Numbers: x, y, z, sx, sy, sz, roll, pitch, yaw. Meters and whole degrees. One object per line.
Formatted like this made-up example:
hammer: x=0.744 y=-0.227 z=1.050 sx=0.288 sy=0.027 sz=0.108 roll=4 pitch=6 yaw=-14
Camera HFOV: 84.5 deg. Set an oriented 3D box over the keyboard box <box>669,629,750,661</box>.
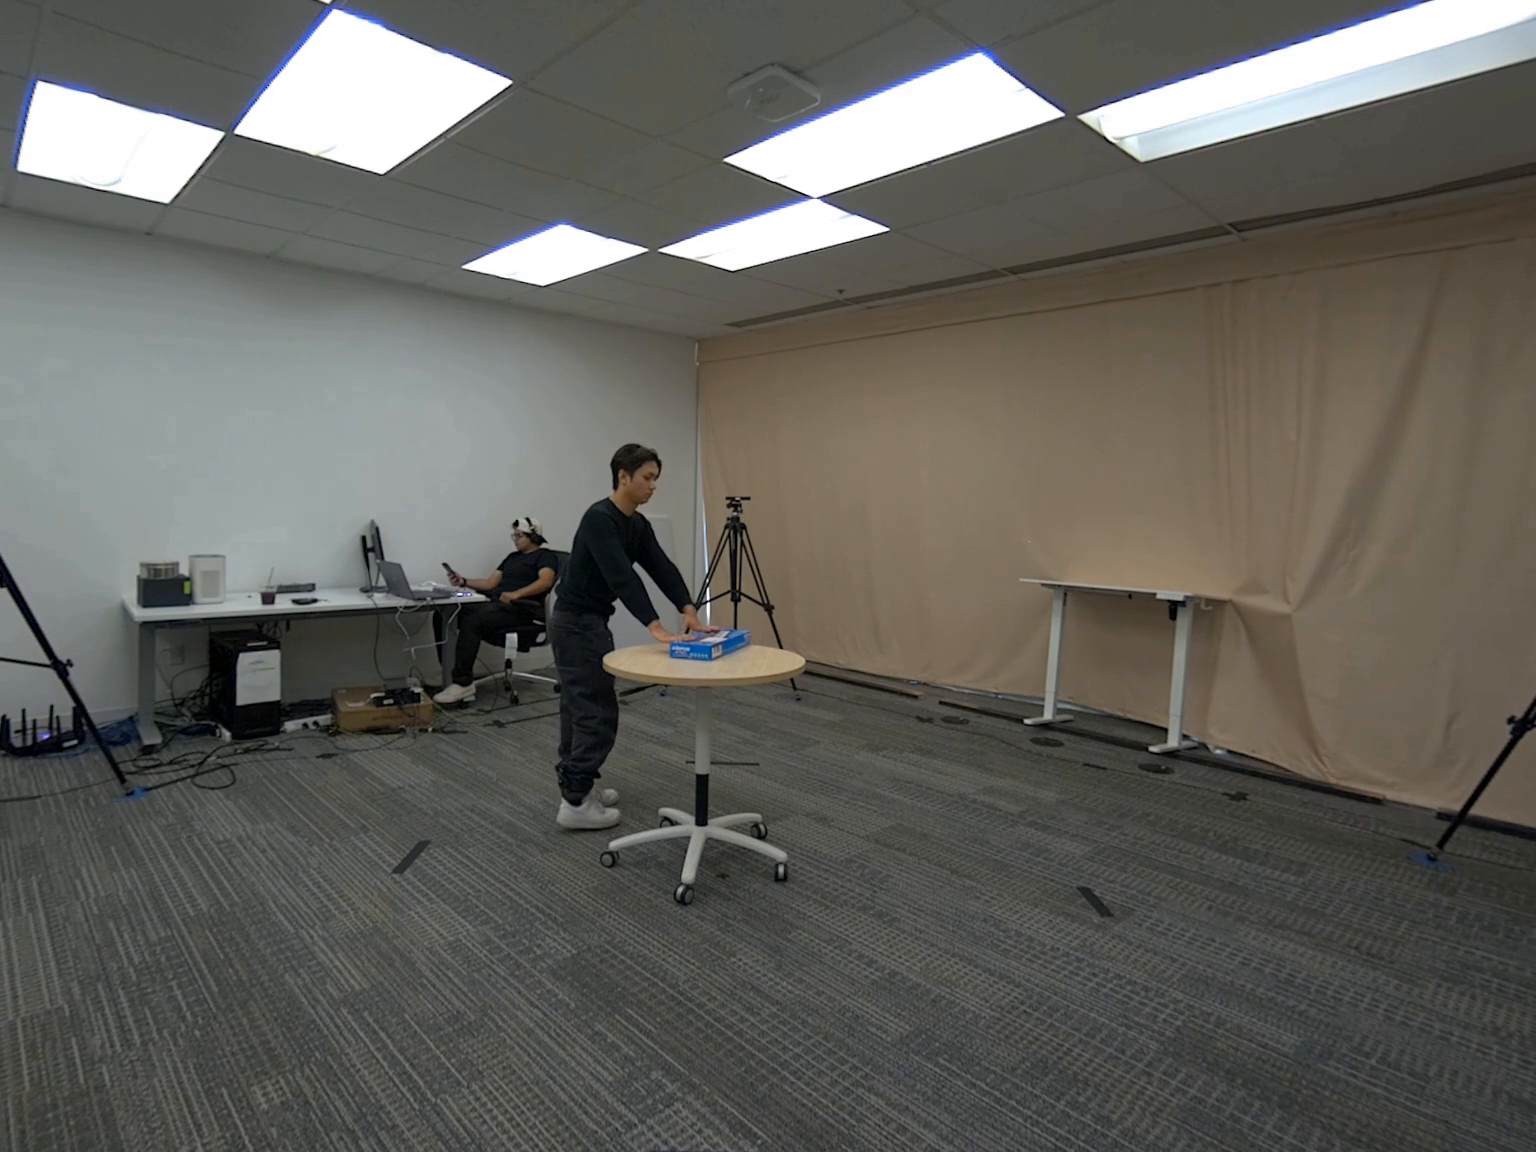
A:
keyboard box: x=-0.234 y=0.269 z=3.367 sx=0.178 sy=0.059 sz=0.432 roll=2 pitch=6 yaw=18
